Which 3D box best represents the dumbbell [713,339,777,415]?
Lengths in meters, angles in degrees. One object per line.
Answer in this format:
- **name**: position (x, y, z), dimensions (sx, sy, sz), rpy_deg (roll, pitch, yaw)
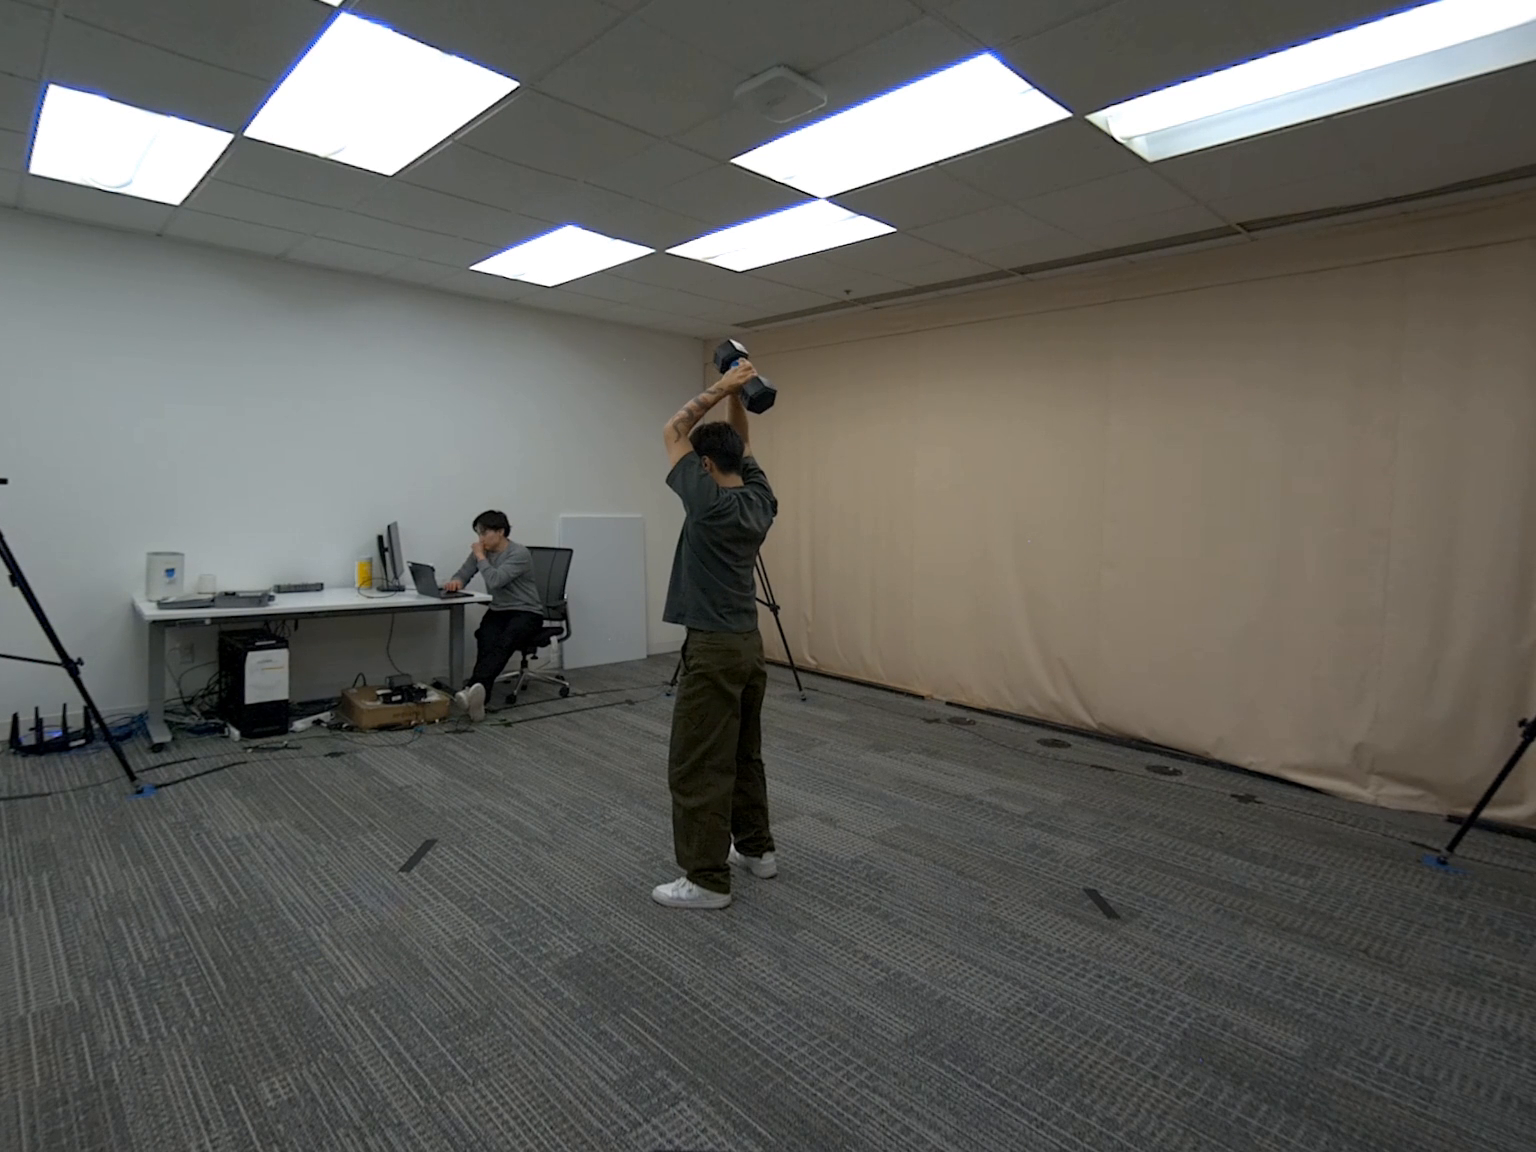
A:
- **dumbbell**: position (-0.095, -0.693, 2.911), dimensions (0.107, 0.121, 0.302), rpy_deg (-18, 55, -21)
